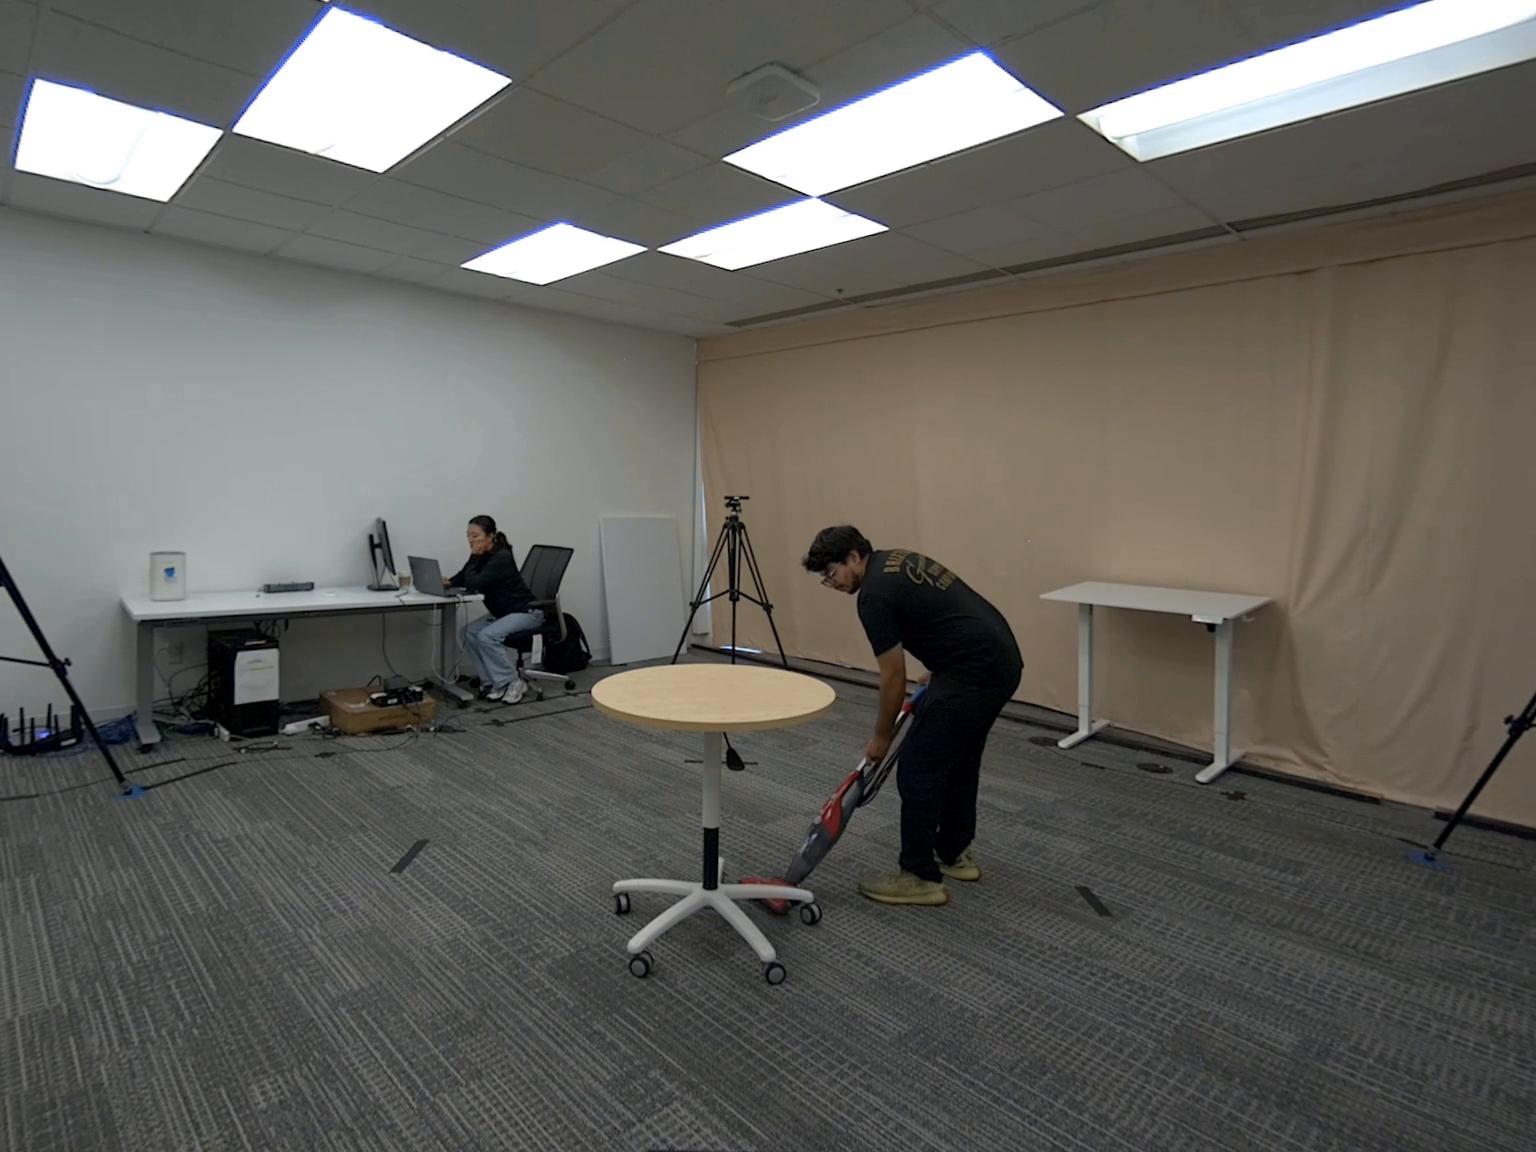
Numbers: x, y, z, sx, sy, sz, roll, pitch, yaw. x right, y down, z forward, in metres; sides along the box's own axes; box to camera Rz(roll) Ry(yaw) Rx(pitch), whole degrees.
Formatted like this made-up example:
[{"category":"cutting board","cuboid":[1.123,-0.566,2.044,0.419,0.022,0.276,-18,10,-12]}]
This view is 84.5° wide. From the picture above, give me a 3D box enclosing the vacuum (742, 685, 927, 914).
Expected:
[{"category":"vacuum","cuboid":[0.350,0.744,3.104,1.048,0.141,0.258,-46,26,-23]}]
